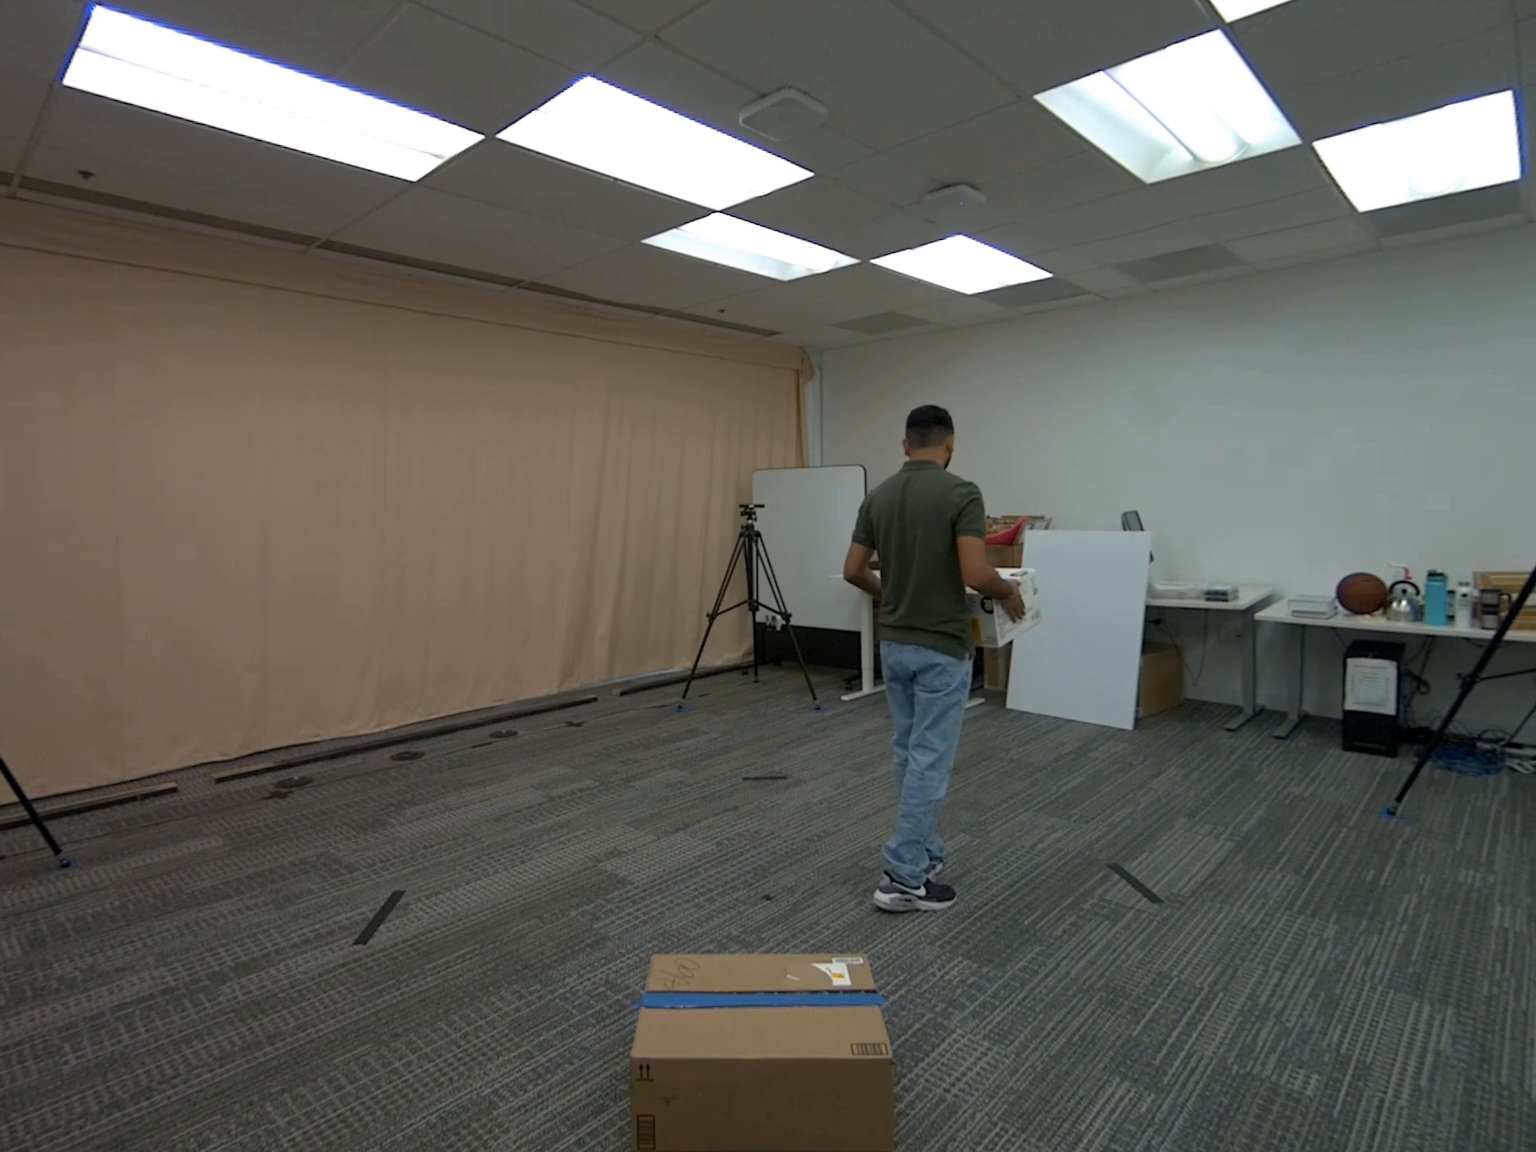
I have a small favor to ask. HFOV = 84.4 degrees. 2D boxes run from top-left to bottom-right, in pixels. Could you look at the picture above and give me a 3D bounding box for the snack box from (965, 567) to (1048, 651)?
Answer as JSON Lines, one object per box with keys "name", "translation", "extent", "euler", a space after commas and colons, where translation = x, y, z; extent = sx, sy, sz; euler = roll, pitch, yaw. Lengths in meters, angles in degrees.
{"name": "snack box", "translation": [0.766, 0.109, 3.189], "extent": [0.418, 0.204, 0.332], "euler": [2, 16, 45]}
